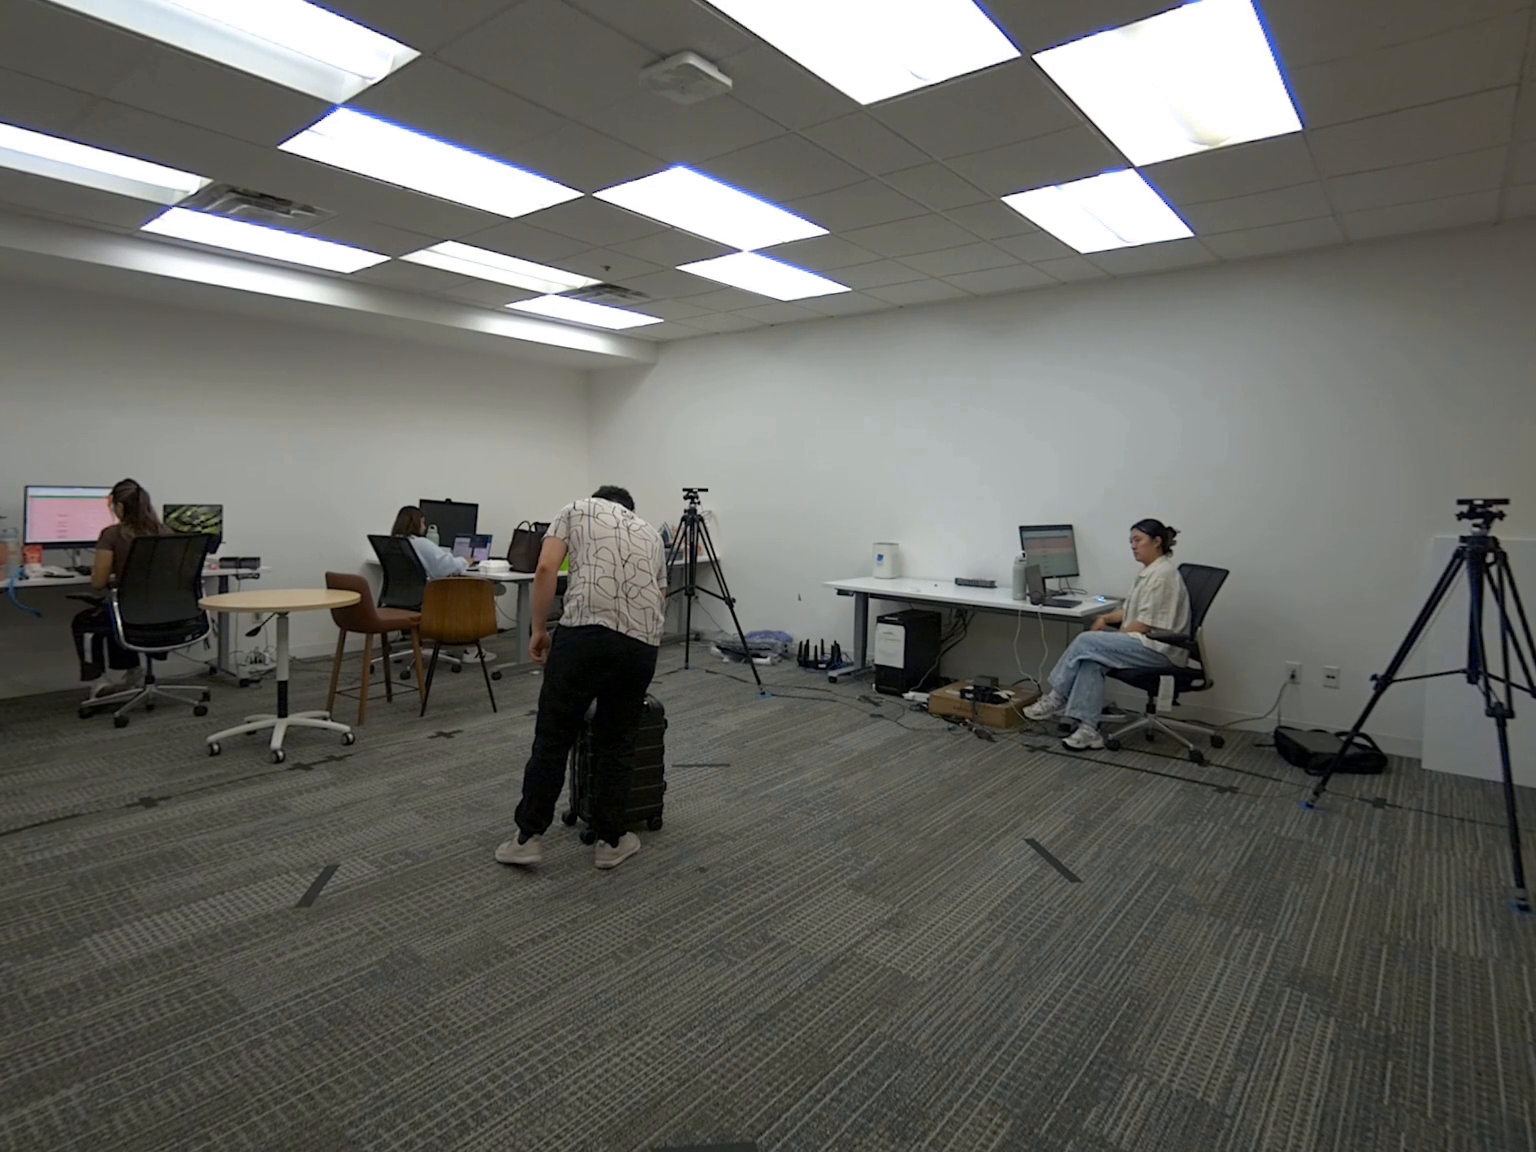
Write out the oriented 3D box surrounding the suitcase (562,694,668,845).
[{"bbox_3d":[-0.635,0.746,3.492,0.365,0.548,0.256,-1,3,-31],"label":"suitcase"}]
